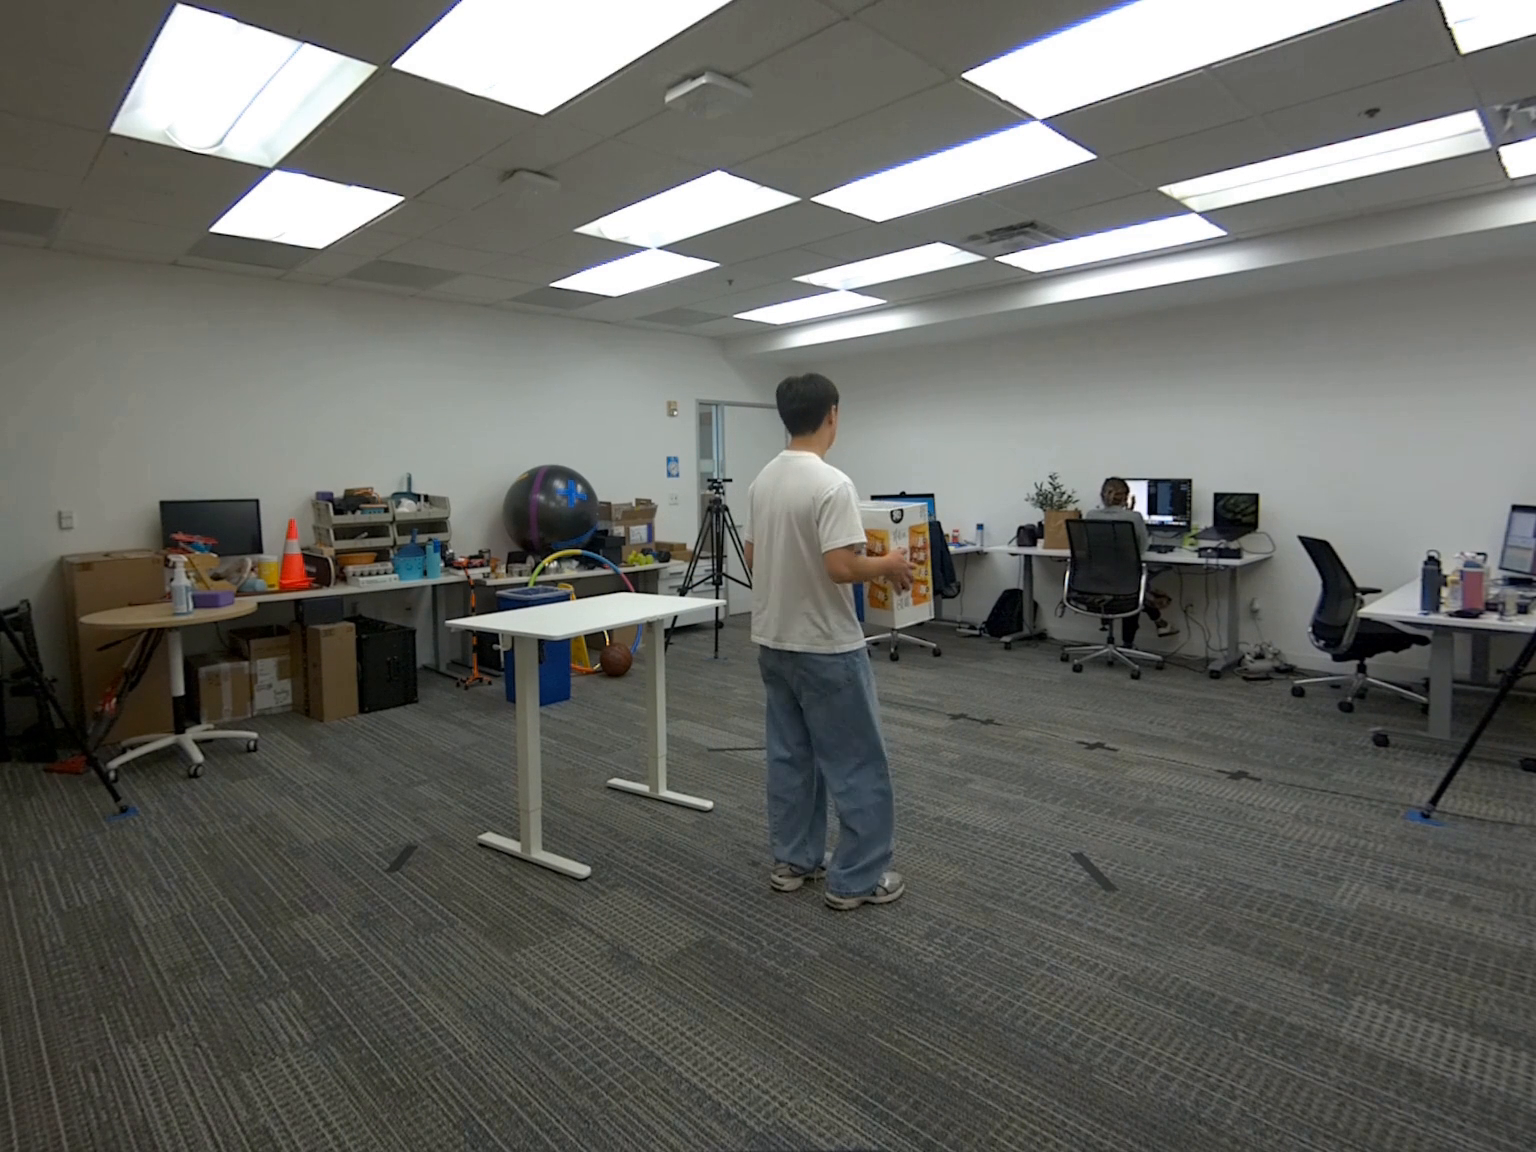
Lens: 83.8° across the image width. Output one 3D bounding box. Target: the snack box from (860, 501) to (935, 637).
[{"bbox_3d":[0.383,-0.054,3.030,0.201,0.402,0.351,-11,11,-37],"label":"snack box"}]
